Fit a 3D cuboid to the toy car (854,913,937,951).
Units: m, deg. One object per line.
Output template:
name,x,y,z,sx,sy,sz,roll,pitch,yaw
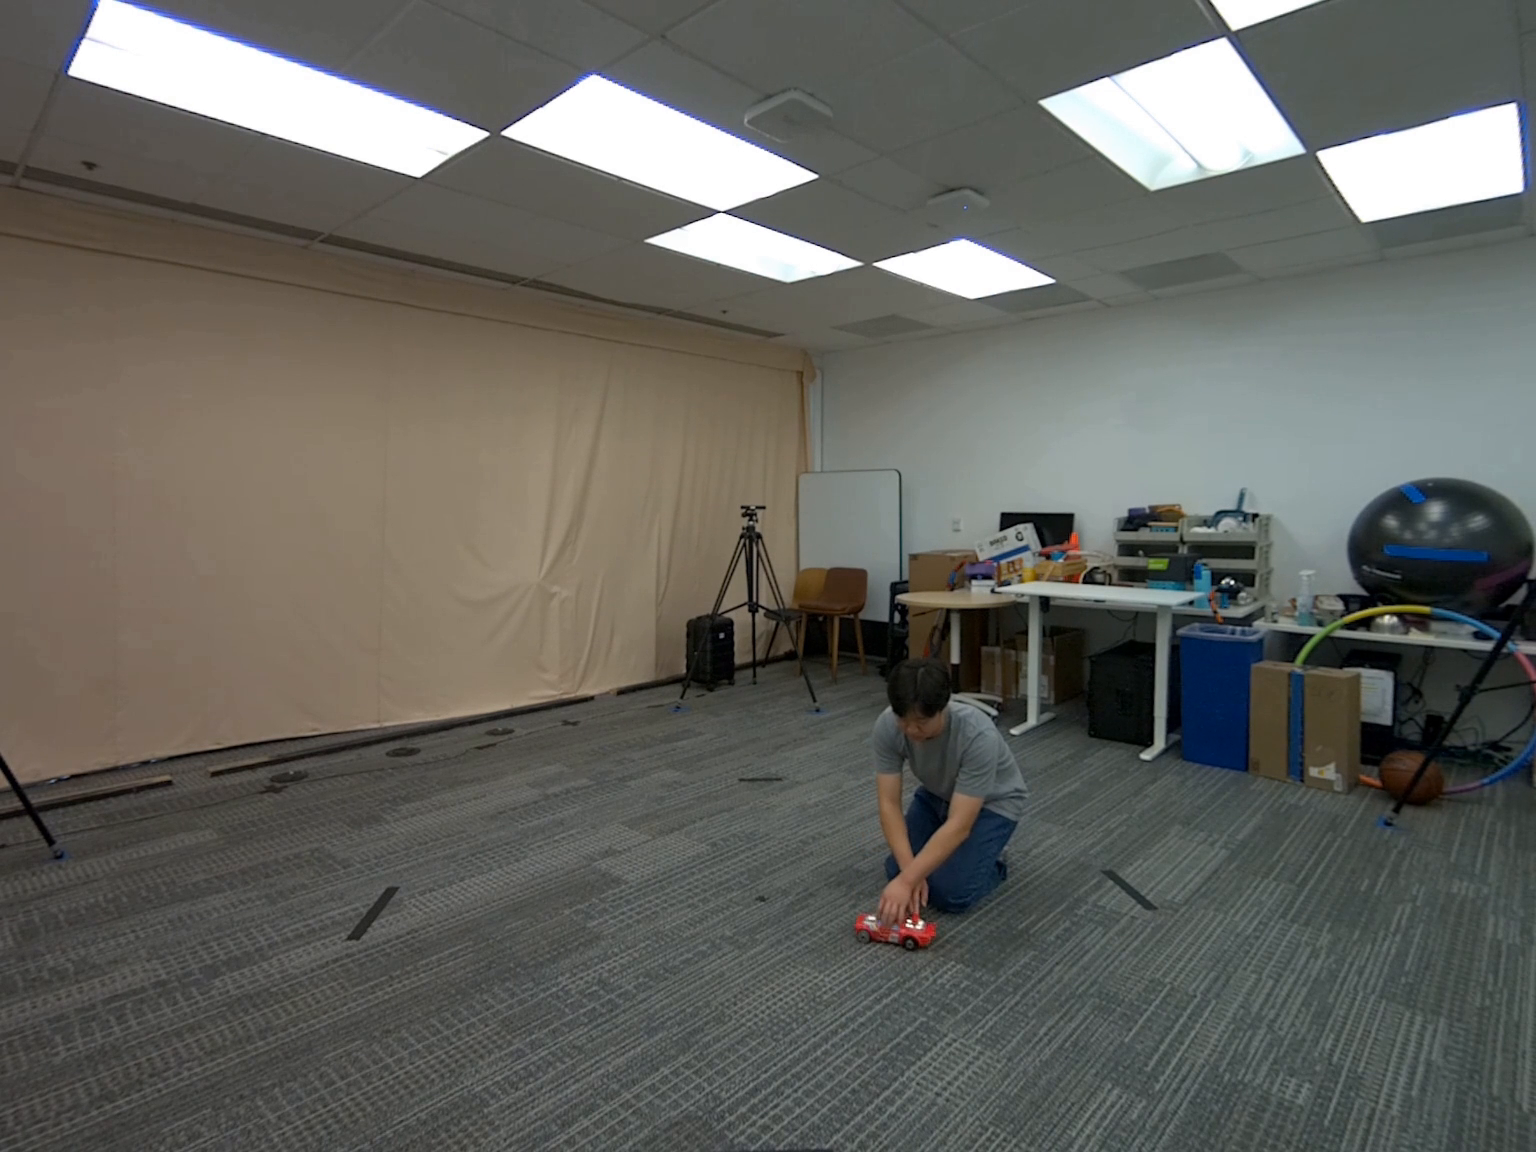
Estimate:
toy car,0.420,1.137,2.698,0.259,0.083,0.128,-11,1,20
